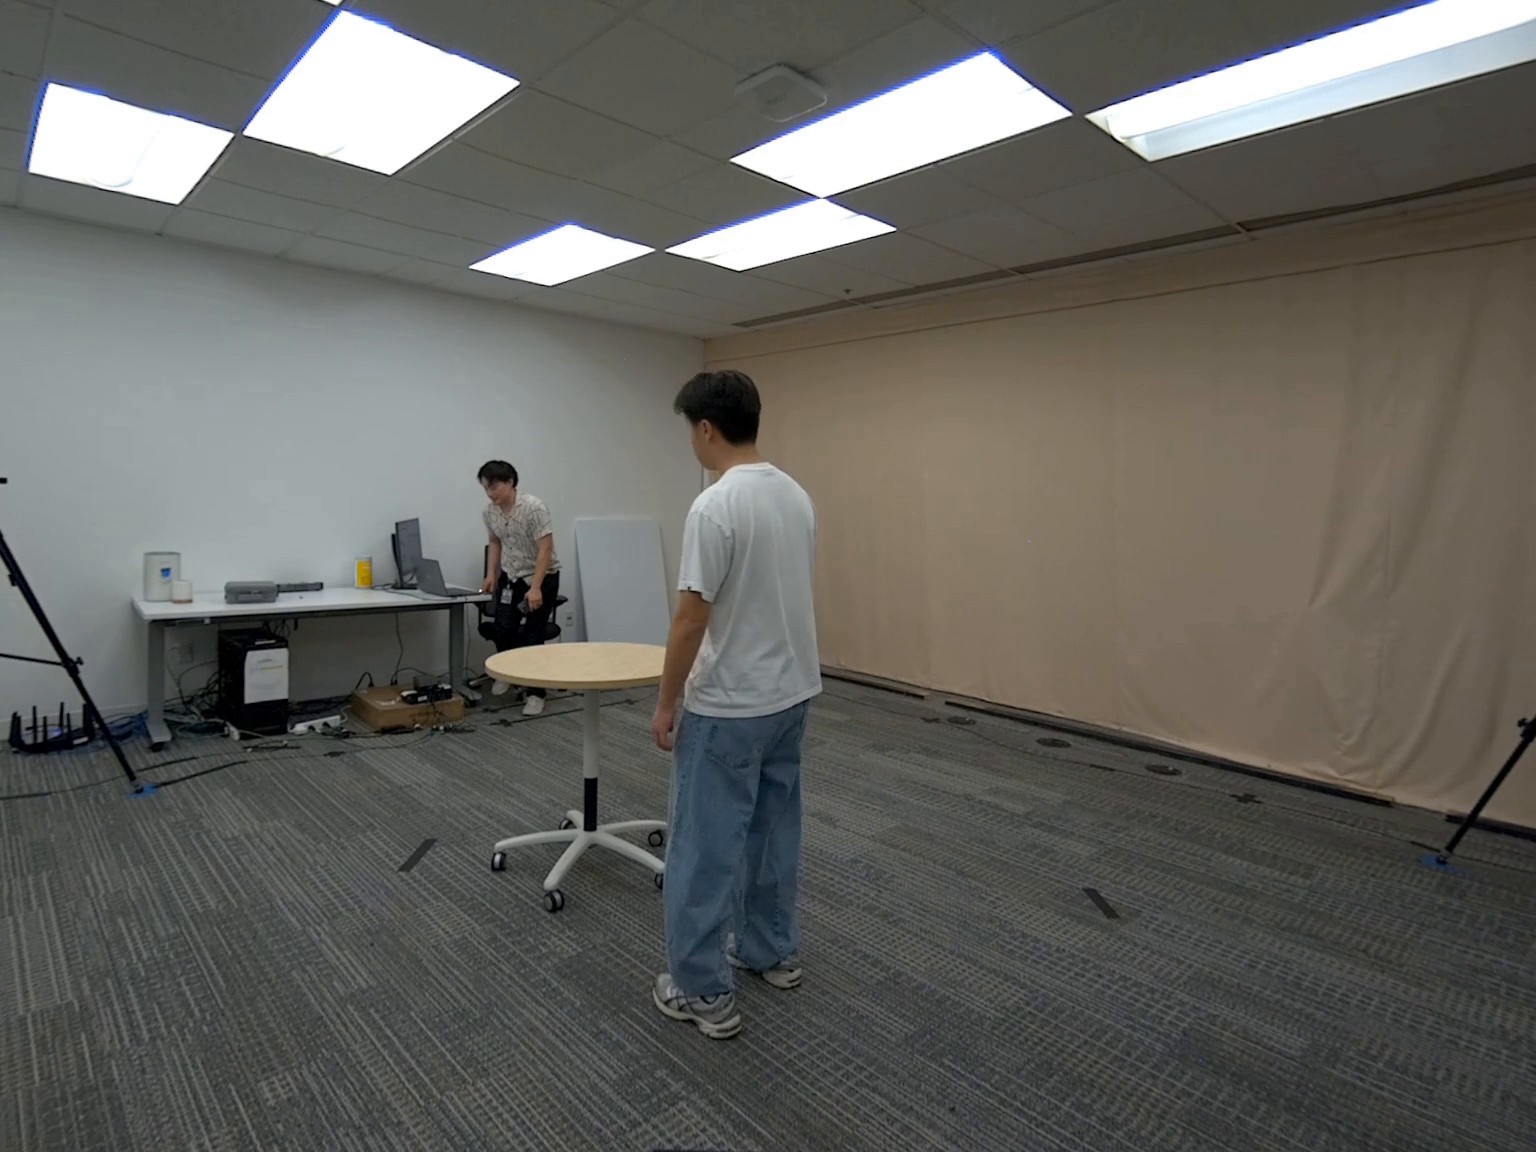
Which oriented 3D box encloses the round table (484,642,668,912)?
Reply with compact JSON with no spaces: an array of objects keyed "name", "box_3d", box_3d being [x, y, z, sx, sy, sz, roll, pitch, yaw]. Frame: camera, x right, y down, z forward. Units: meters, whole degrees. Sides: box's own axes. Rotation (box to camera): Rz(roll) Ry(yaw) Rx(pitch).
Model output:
[{"name":"round table","box_3d":[-0.666,0.698,3.148,0.784,0.784,0.788,1,4,-1]}]
